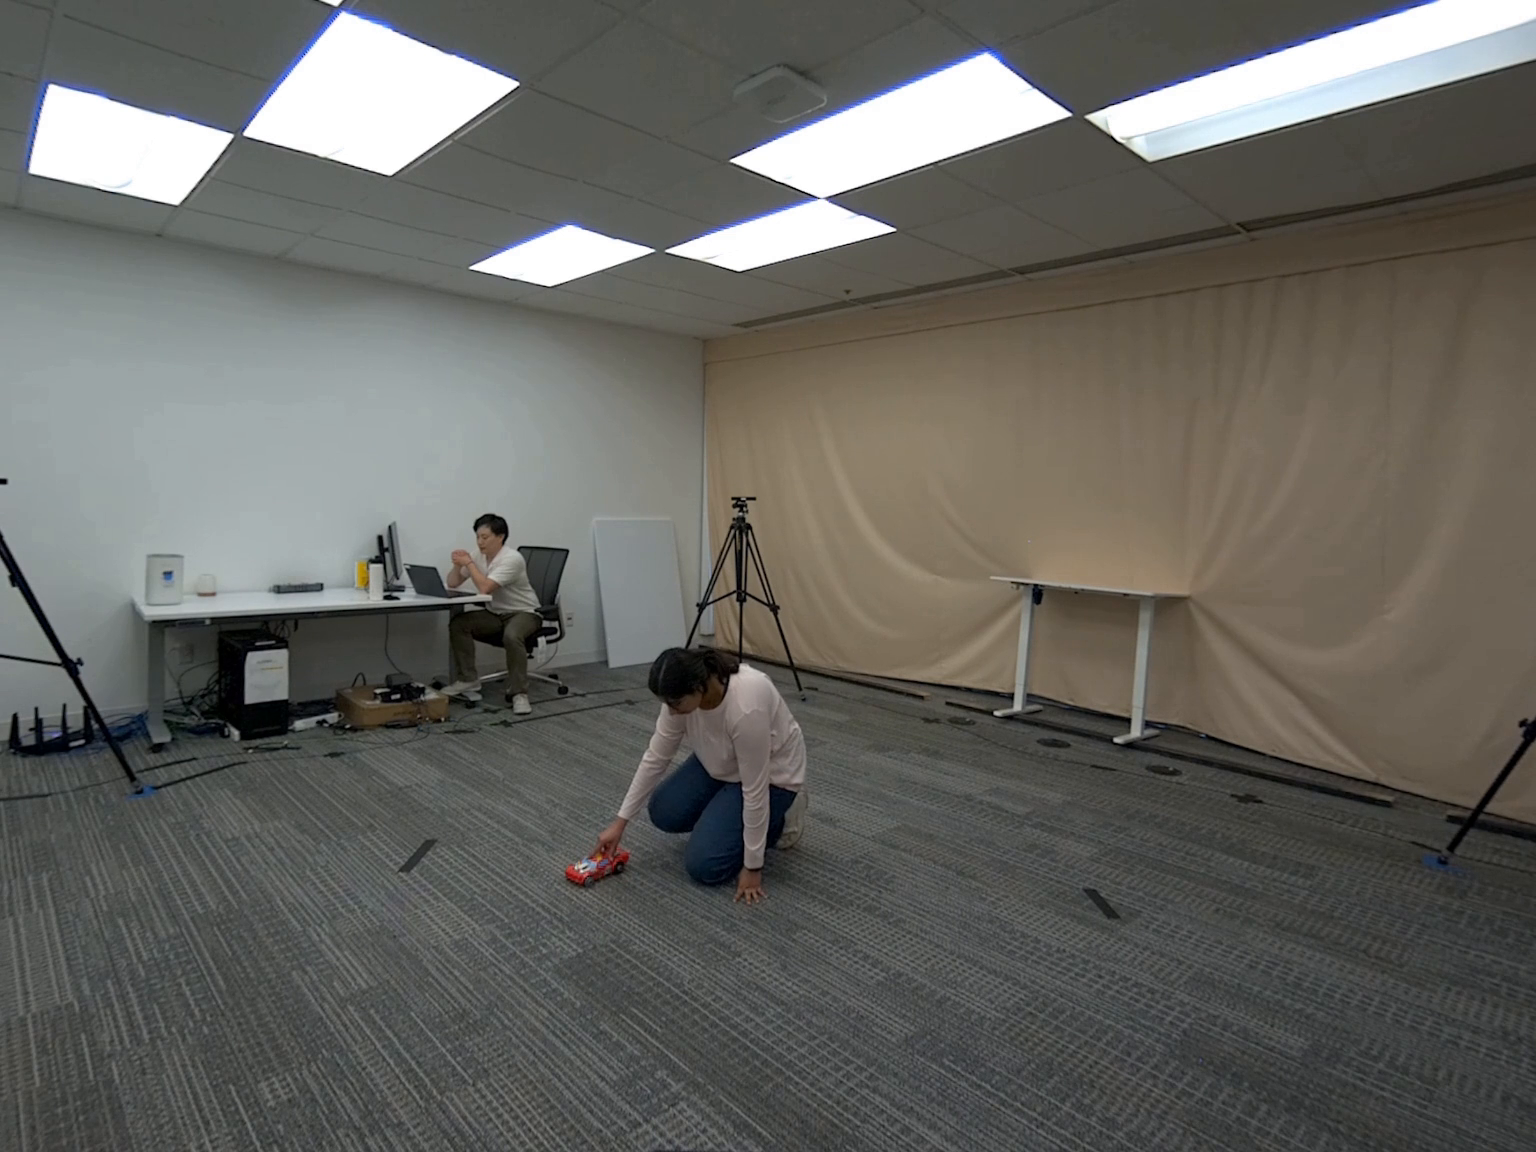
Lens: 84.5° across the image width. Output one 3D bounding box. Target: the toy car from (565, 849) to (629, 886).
[{"bbox_3d":[-0.622,1.063,3.093,0.133,0.082,0.251,4,16,39],"label":"toy car"}]
